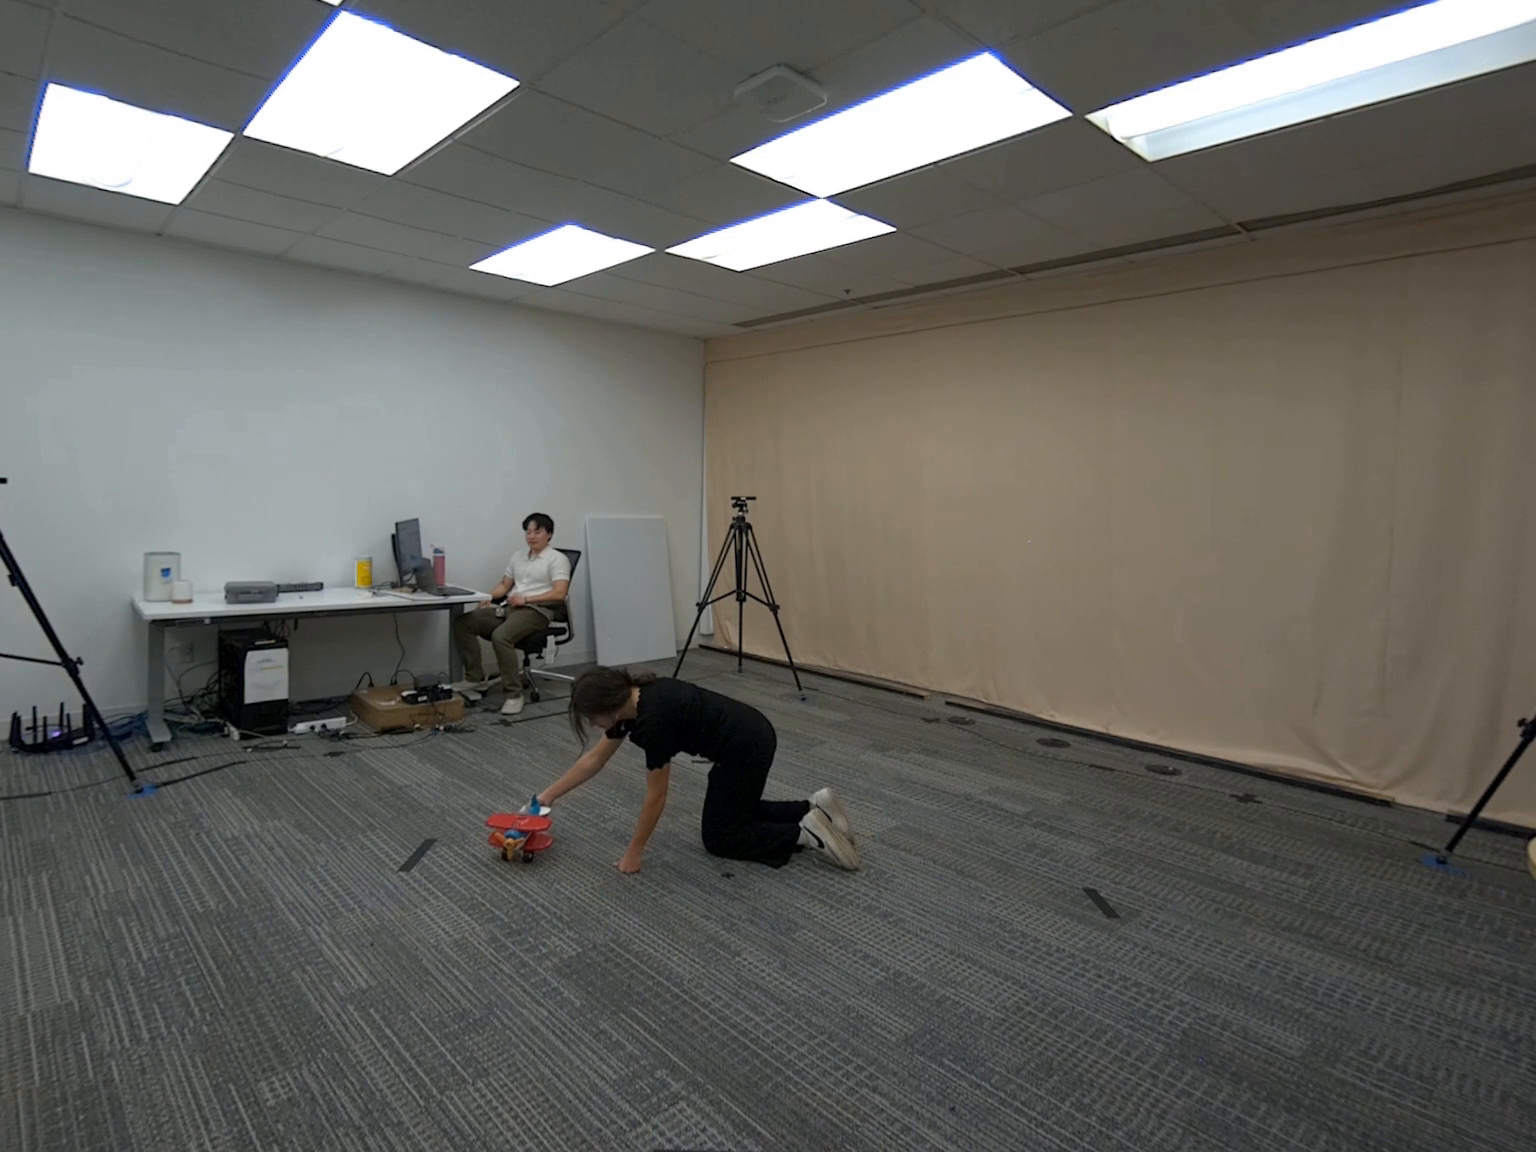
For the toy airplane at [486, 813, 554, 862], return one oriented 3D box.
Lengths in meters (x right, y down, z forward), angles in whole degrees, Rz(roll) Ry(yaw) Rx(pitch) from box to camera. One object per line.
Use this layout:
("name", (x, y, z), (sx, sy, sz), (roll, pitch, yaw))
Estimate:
("toy airplane", (-0.956, 0.966, 3.238), (0.249, 0.153, 0.267), (-12, 32, -13))
